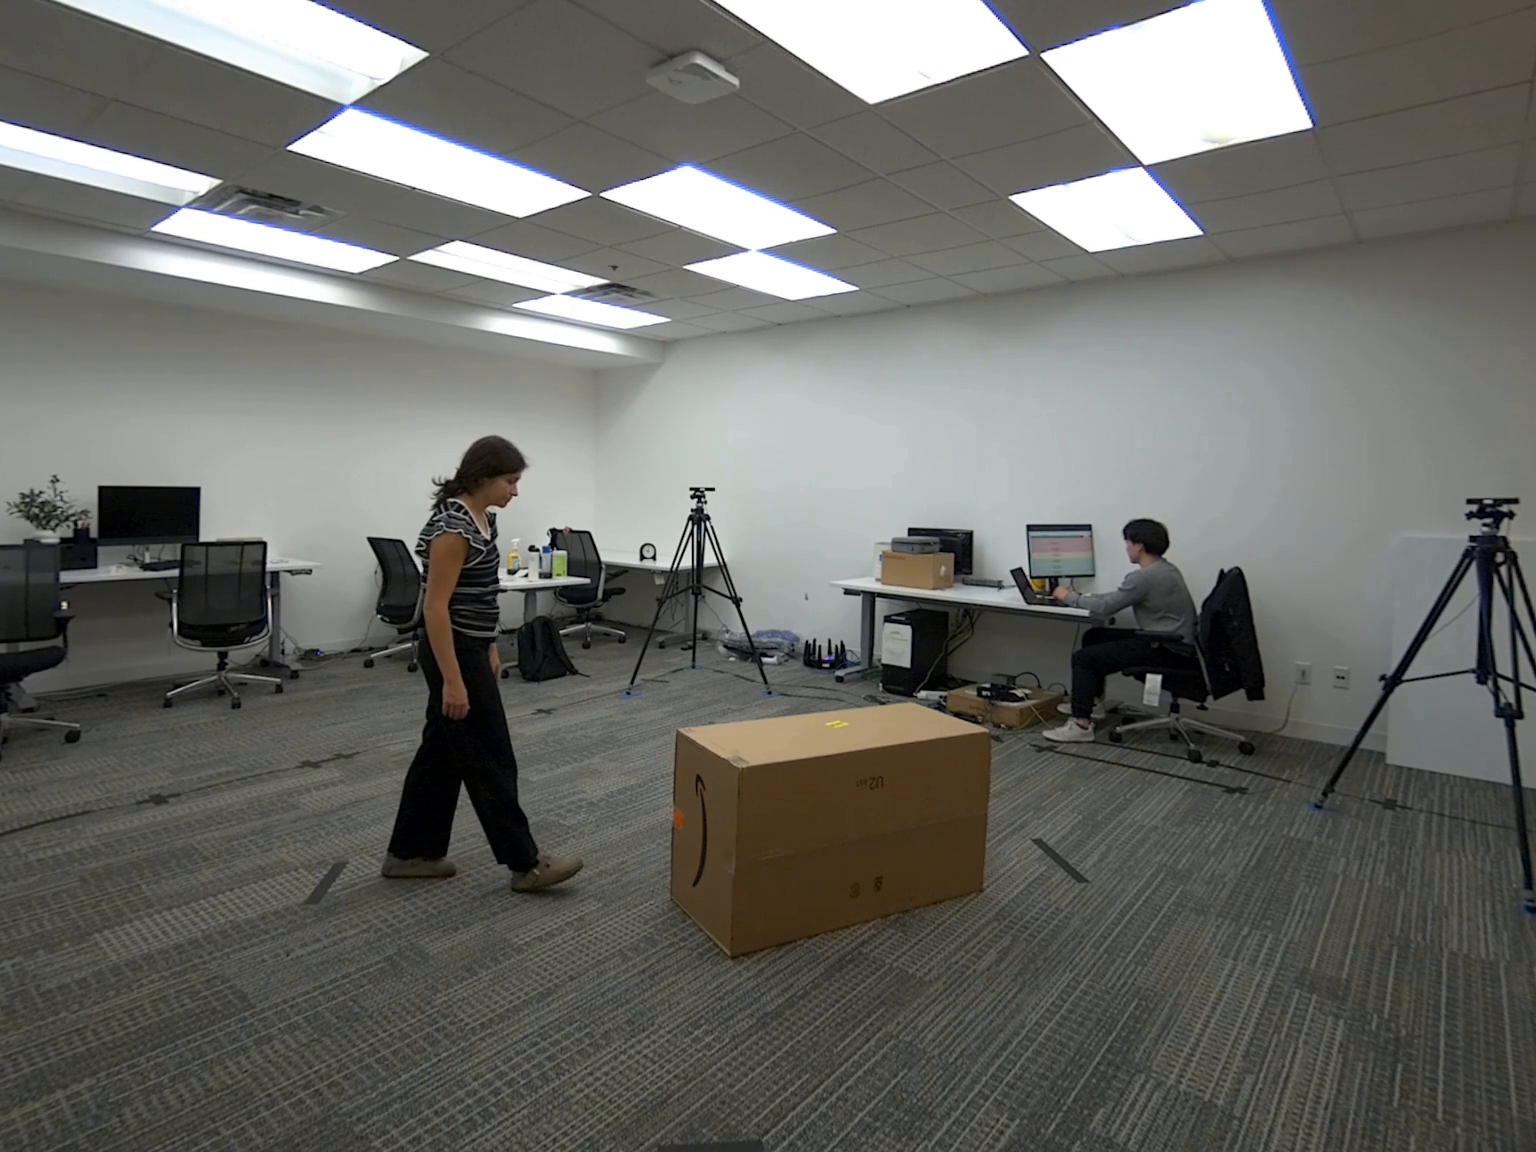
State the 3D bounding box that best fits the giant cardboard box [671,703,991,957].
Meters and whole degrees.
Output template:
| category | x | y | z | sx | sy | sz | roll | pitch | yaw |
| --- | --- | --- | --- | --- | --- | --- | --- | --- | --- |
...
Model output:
| category | x | y | z | sx | sy | sz | roll | pitch | yaw |
| --- | --- | --- | --- | --- | --- | --- | --- | --- | --- |
| giant cardboard box | 0.216 | 0.810 | 2.915 | 0.999 | 0.575 | 0.439 | -1 | 5 | -29 |
